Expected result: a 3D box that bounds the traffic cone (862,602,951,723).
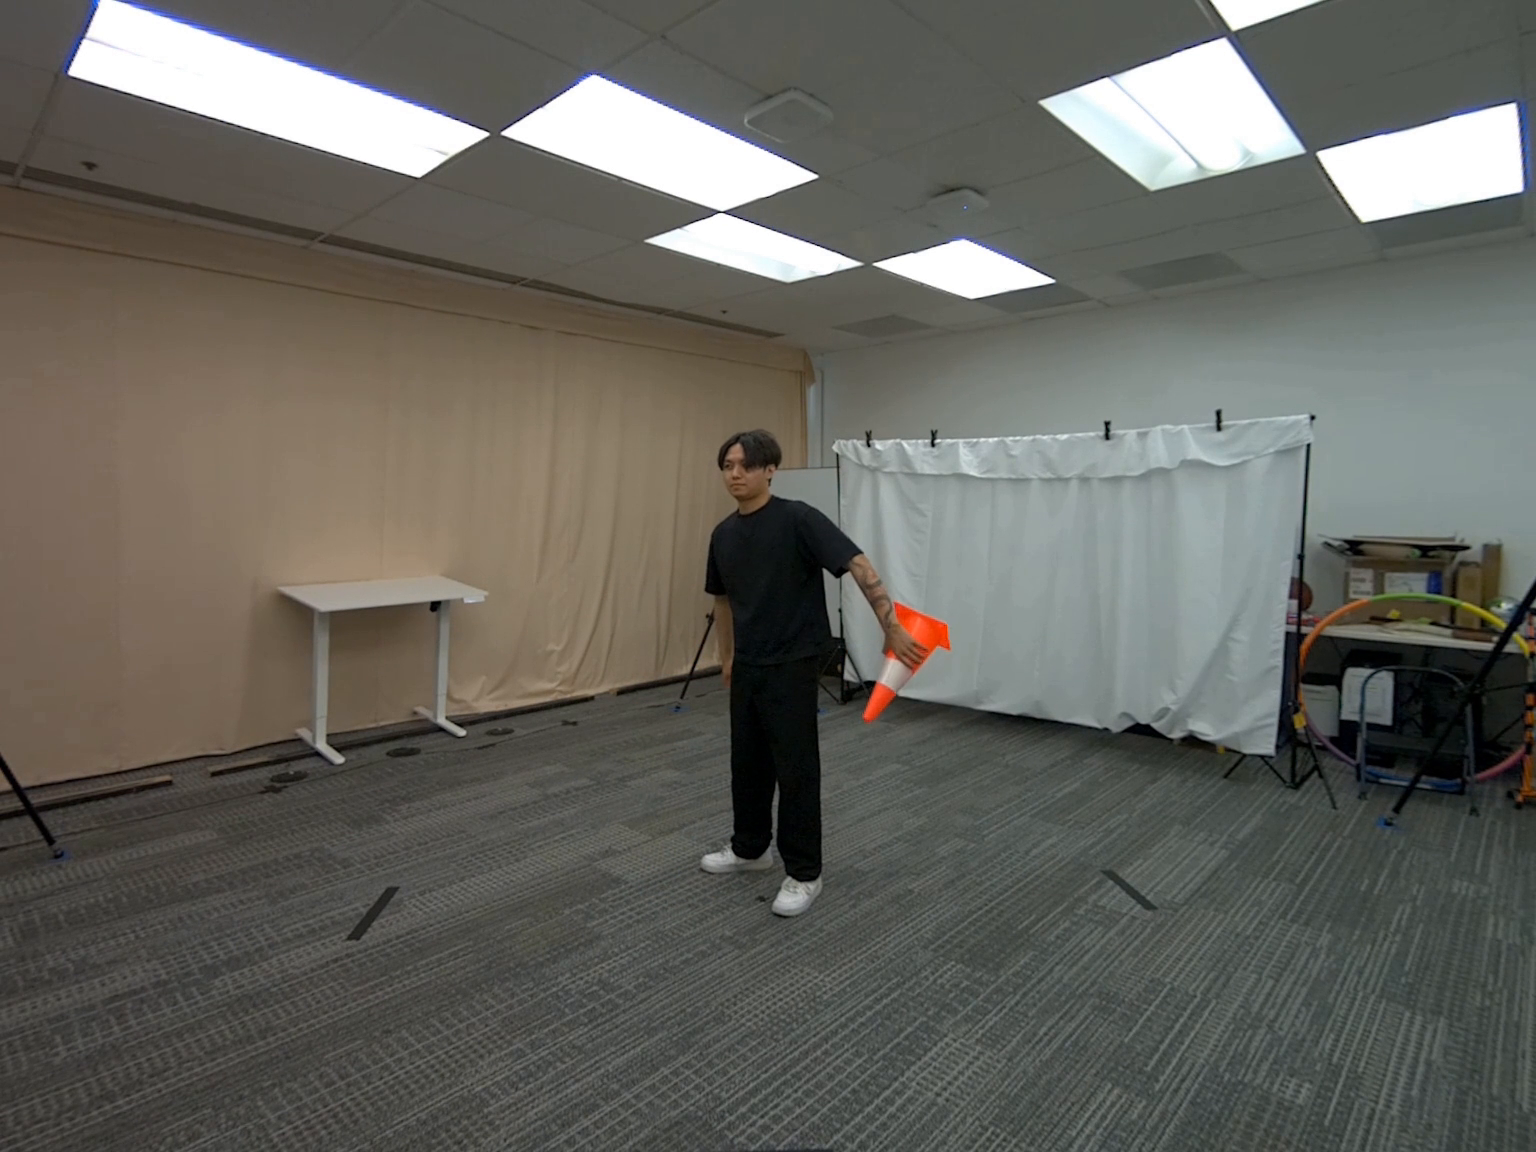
[{"bbox_3d":[0.427,0.324,2.774,0.212,0.383,0.197,23,-21,31],"label":"traffic cone"}]
